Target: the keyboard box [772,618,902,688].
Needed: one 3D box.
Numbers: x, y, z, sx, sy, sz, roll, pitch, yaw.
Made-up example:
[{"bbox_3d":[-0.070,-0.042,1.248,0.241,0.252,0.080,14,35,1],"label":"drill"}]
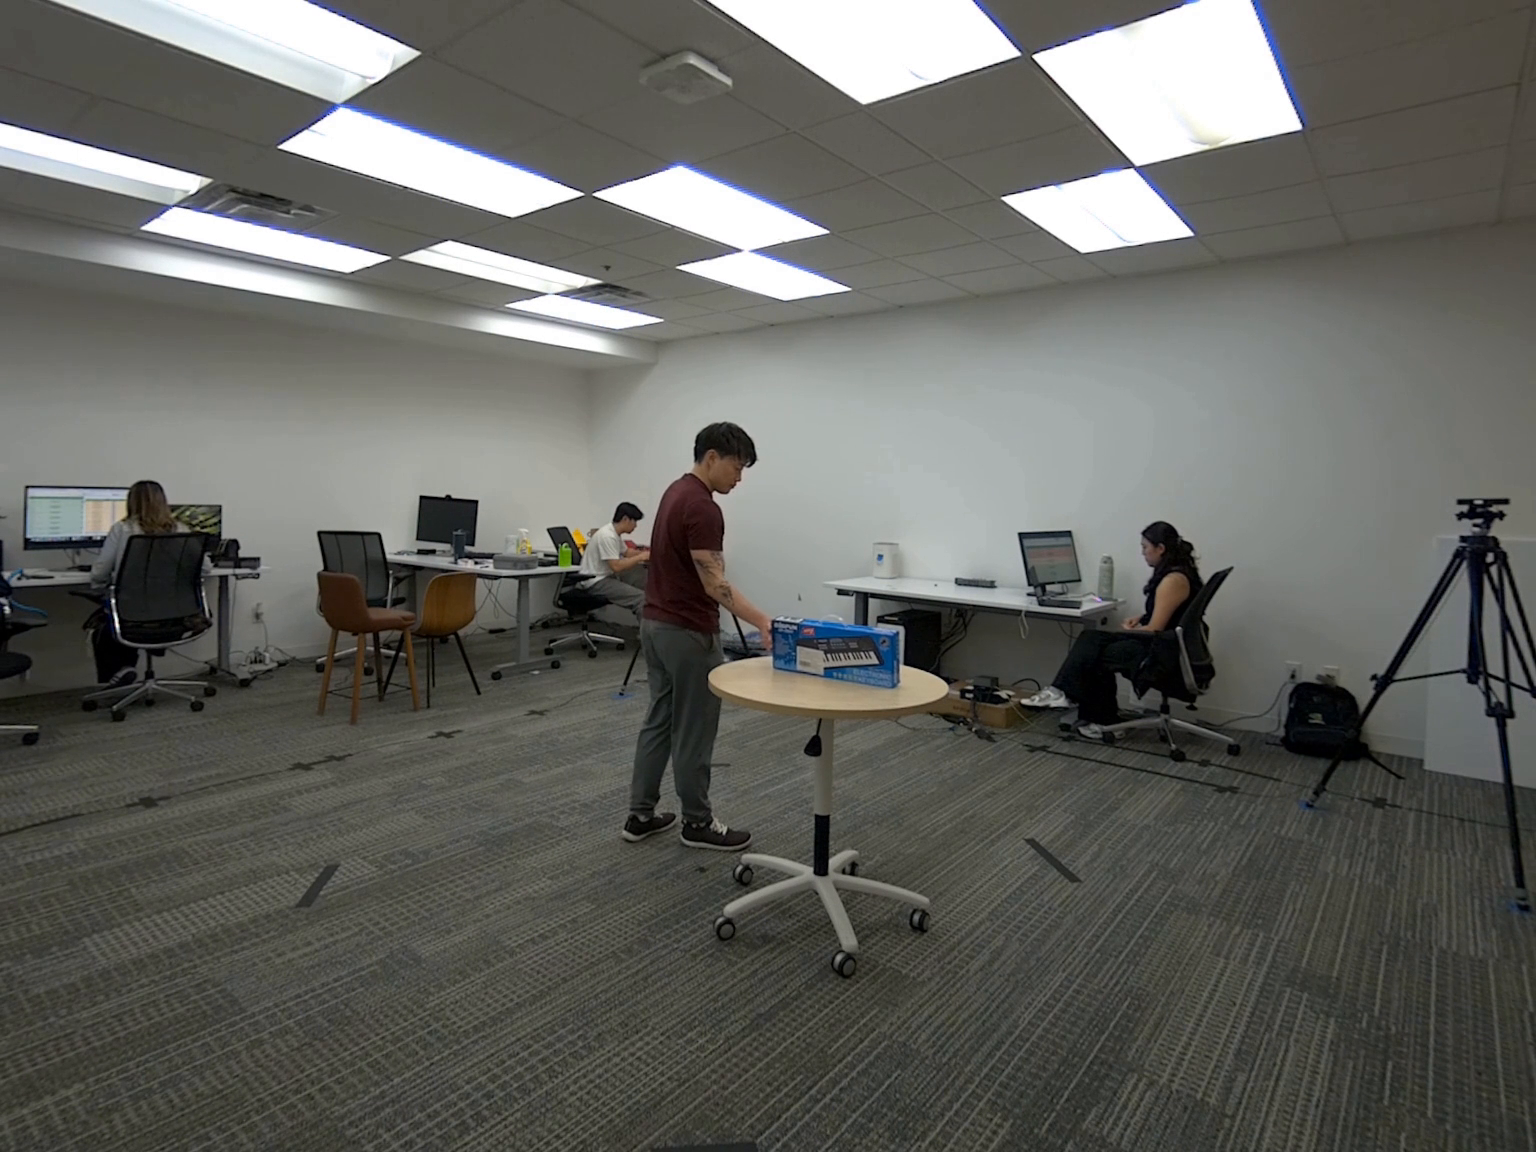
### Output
[{"bbox_3d":[0.206,0.243,2.770,0.451,0.174,0.058,5,11,34],"label":"keyboard box"}]
